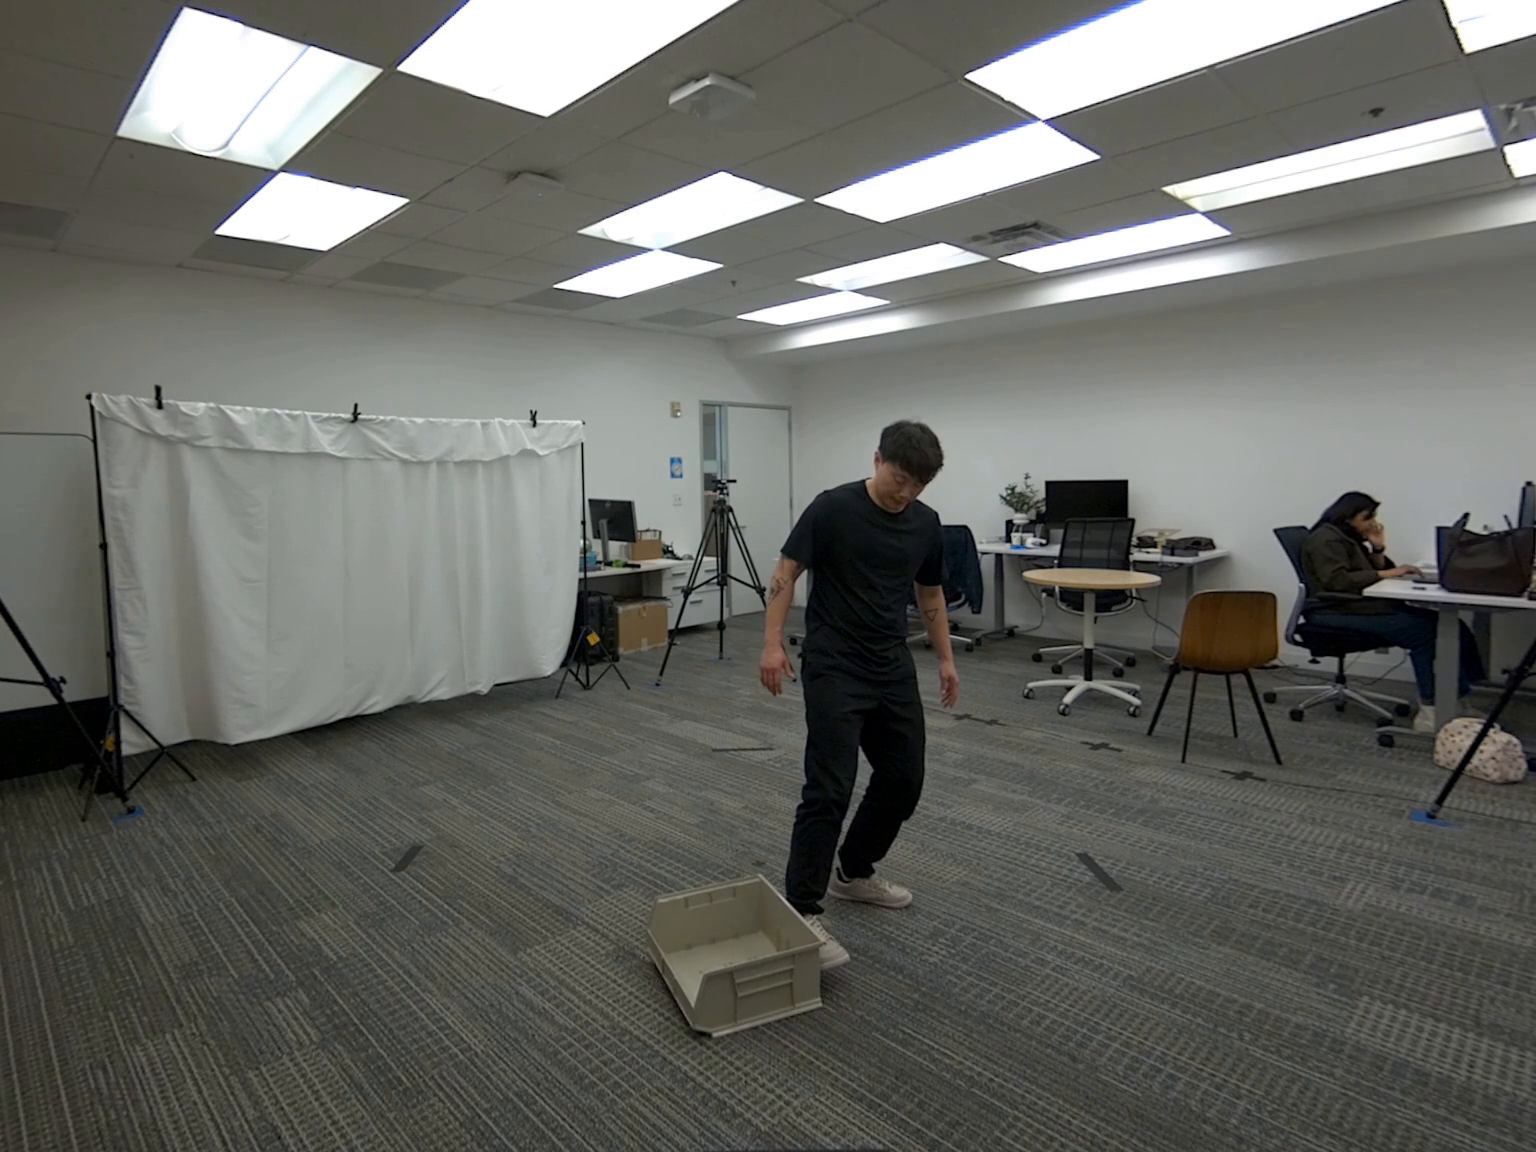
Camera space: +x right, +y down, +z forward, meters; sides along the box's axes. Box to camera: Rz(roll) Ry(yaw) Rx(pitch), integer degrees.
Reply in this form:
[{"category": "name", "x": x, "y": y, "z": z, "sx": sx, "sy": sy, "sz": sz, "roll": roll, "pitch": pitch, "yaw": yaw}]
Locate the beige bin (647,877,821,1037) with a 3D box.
[{"category": "beige bin", "x": -0.096, "y": 1.045, "z": 2.377, "sx": 0.370, "sy": 0.188, "sz": 0.432, "roll": -3, "pitch": 6, "yaw": -24}]
